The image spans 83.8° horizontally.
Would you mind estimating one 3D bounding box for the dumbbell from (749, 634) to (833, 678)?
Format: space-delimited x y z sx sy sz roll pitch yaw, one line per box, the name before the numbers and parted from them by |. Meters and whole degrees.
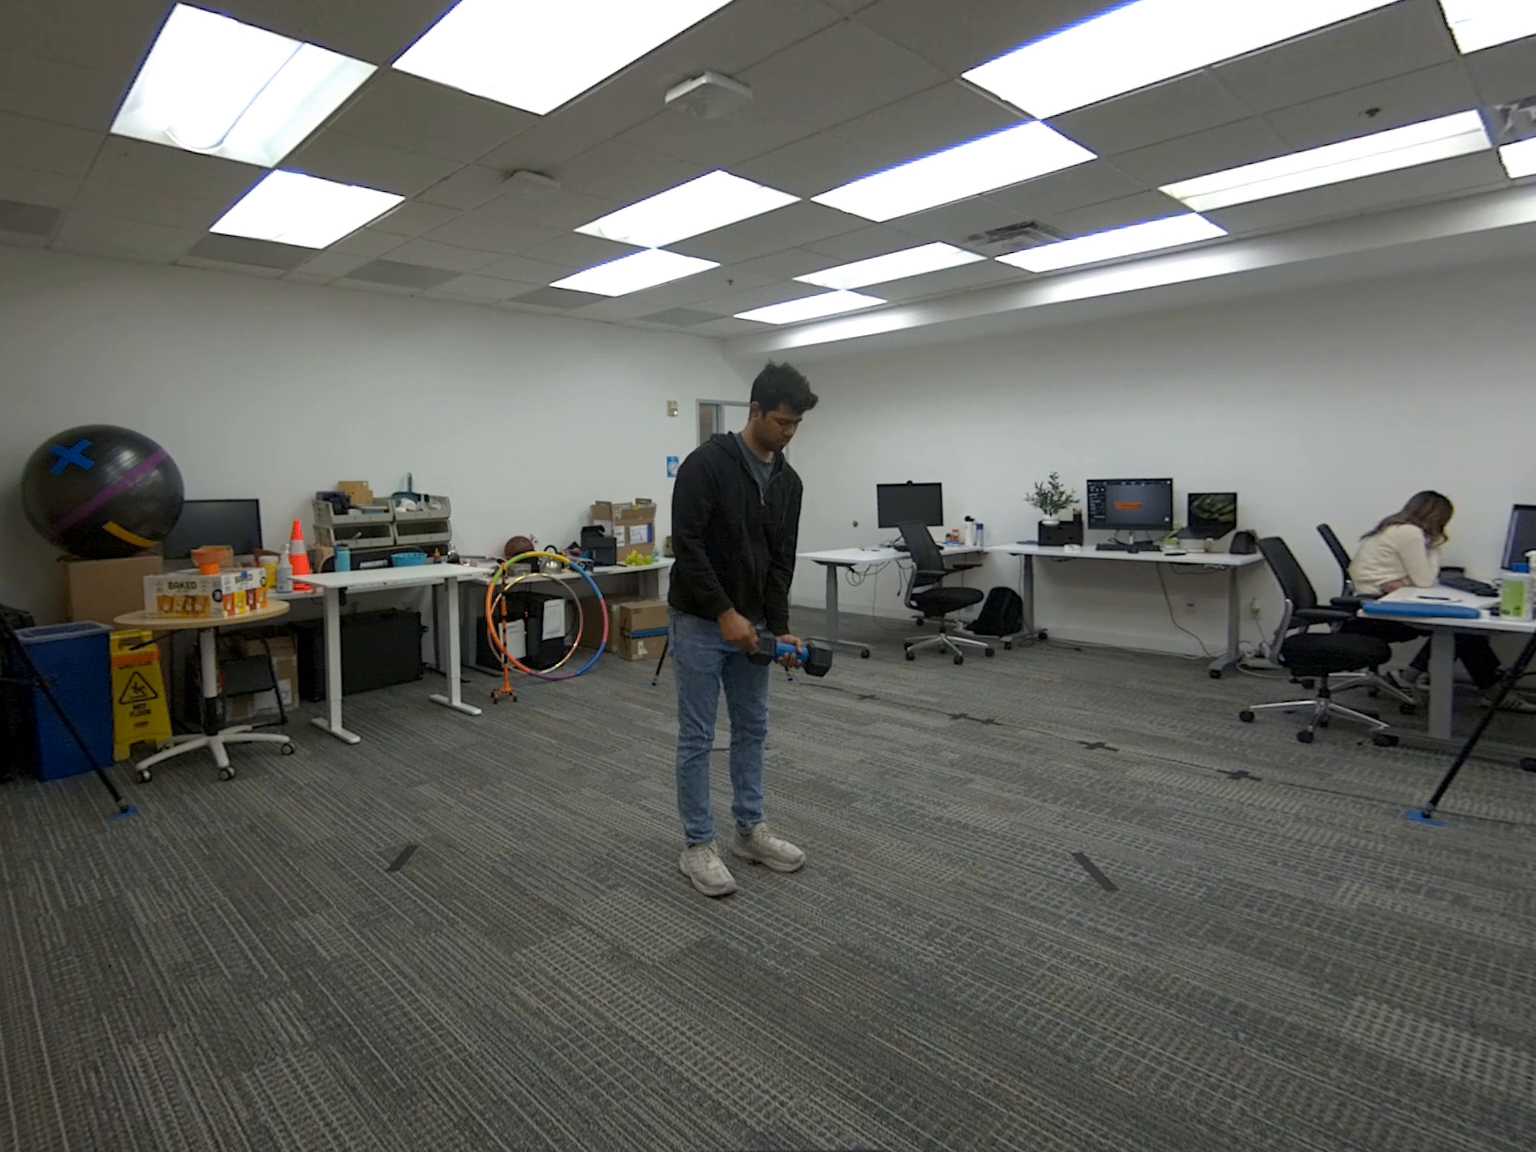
dumbbell | 0.076 0.263 2.963 0.289 0.108 0.126 11 15 -12
